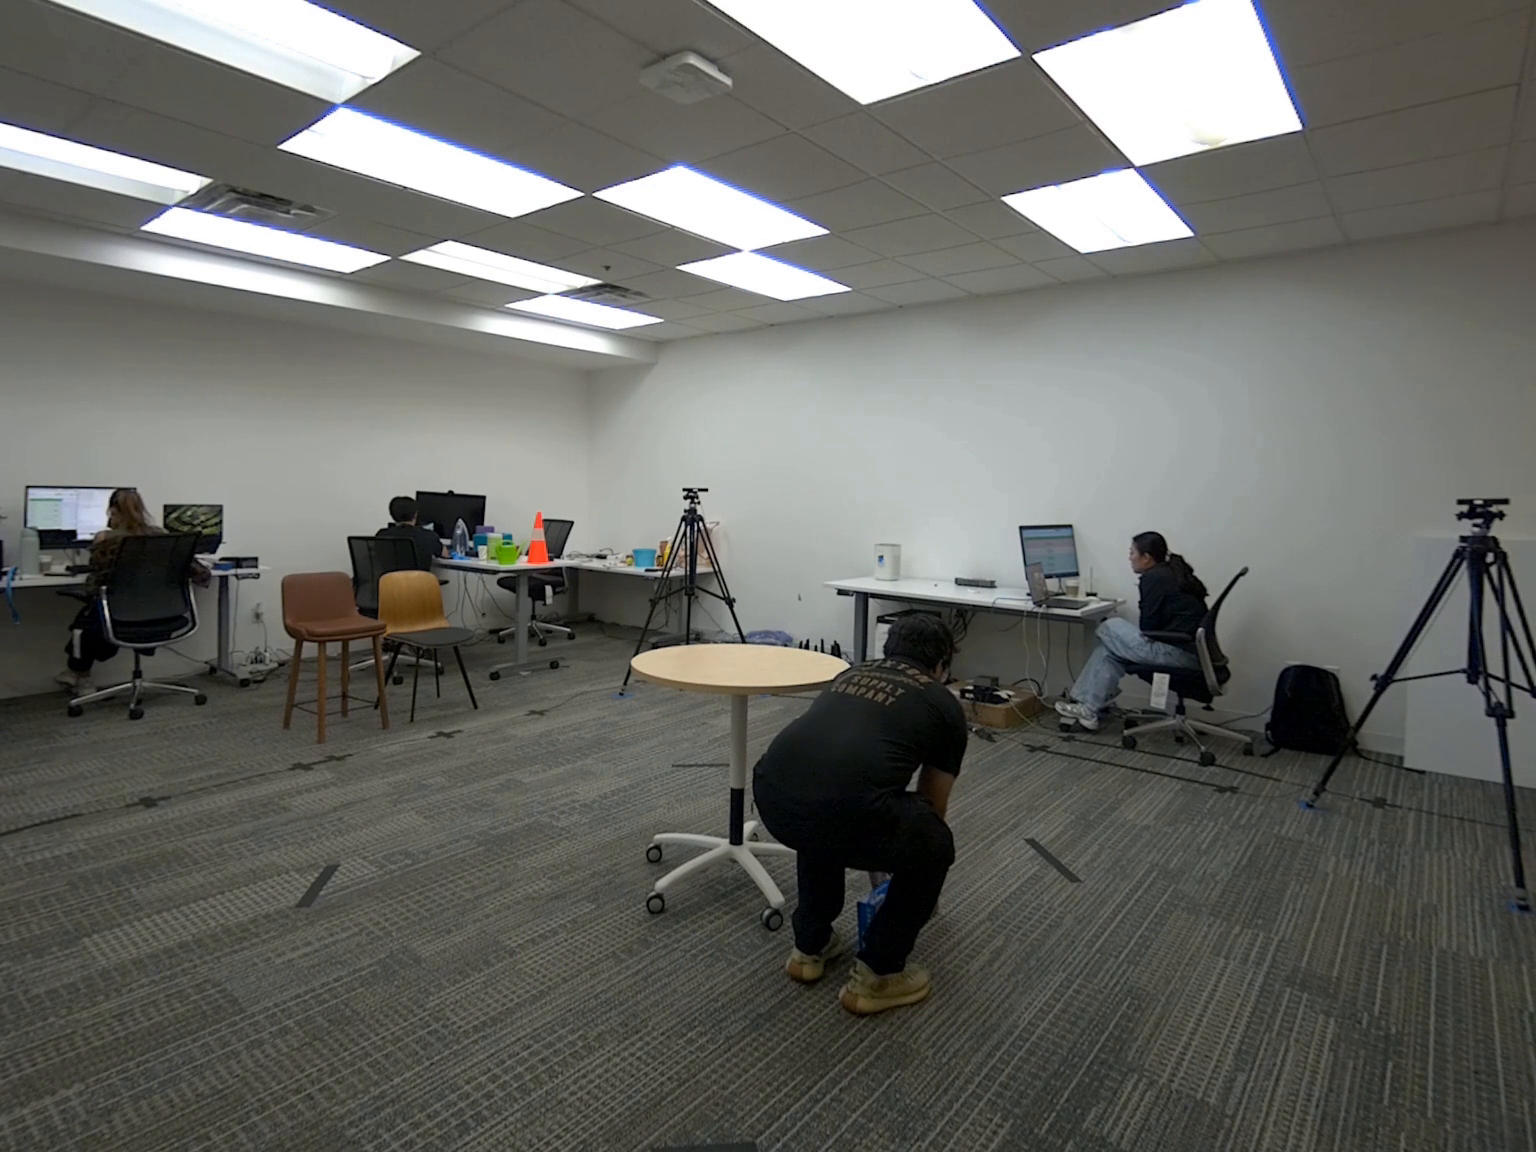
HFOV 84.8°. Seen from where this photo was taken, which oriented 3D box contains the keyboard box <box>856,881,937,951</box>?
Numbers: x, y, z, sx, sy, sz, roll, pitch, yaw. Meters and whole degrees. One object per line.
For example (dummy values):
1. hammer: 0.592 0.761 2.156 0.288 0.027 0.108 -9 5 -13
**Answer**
1. keyboard box: 0.416 1.036 2.682 0.061 0.176 0.424 -3 2 37
